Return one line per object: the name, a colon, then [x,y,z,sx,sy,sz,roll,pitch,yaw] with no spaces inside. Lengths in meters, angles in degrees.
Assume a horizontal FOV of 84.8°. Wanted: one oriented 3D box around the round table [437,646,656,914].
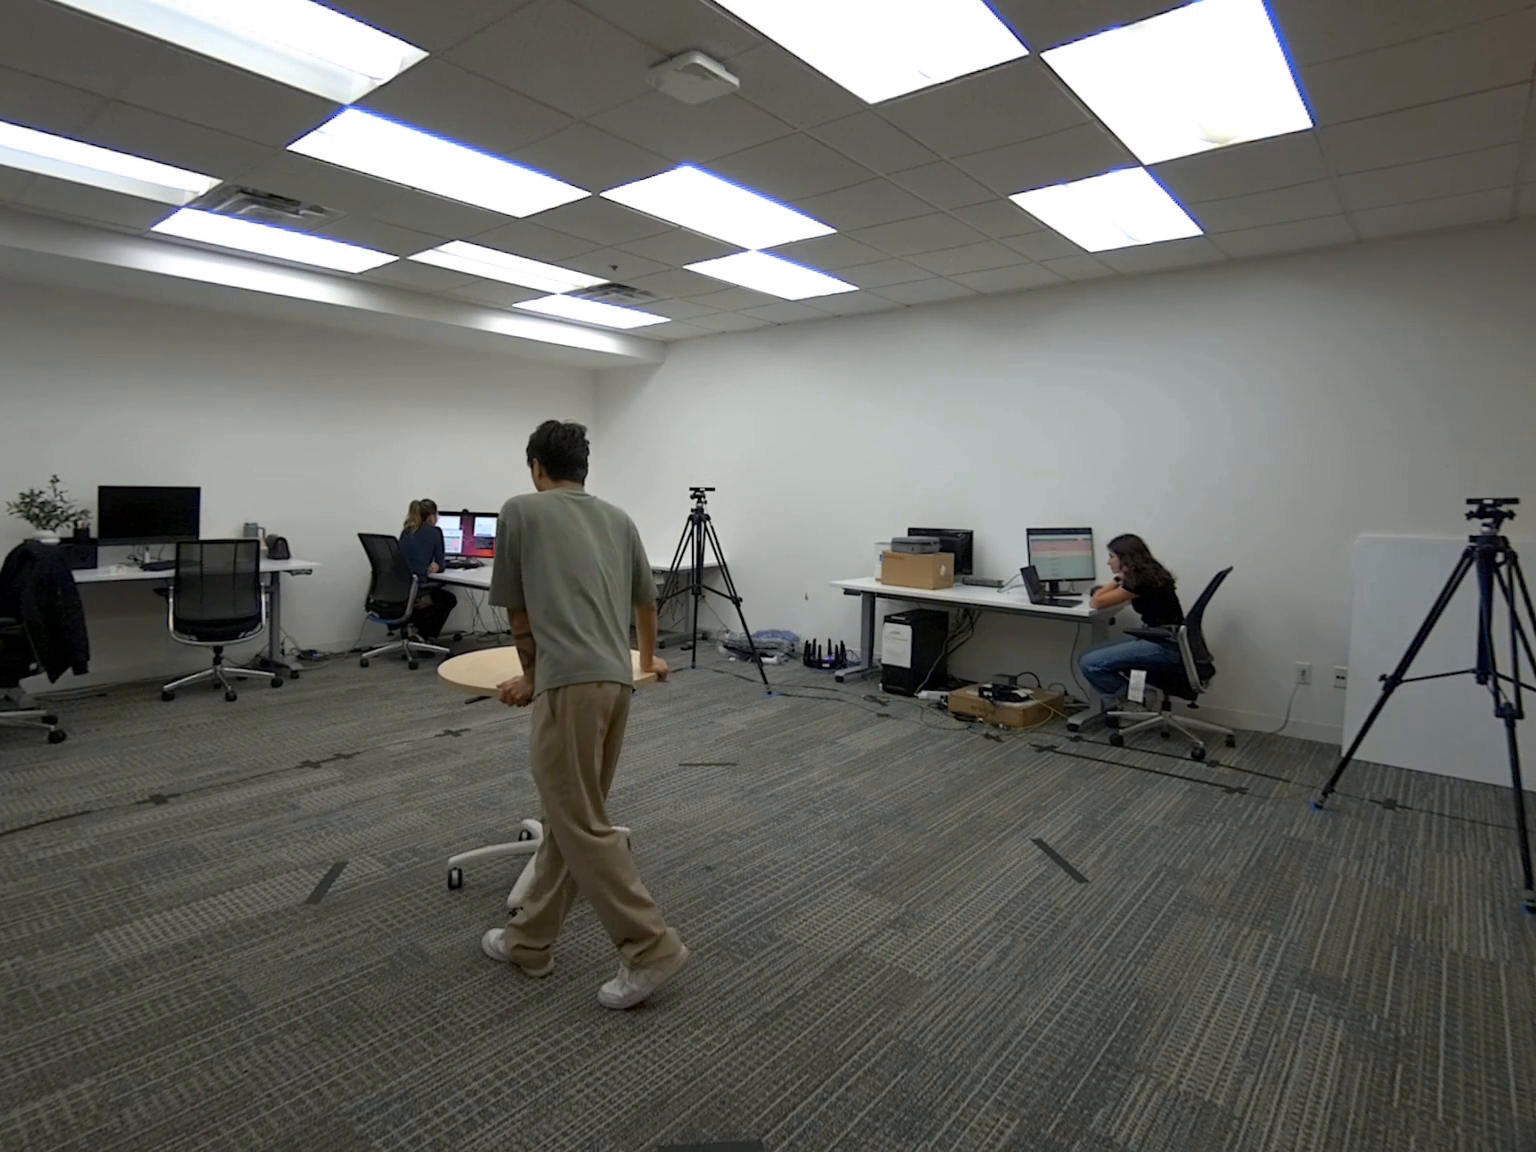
round table: [-0.745,0.682,2.988,0.784,0.784,0.789,1,4,-2]
